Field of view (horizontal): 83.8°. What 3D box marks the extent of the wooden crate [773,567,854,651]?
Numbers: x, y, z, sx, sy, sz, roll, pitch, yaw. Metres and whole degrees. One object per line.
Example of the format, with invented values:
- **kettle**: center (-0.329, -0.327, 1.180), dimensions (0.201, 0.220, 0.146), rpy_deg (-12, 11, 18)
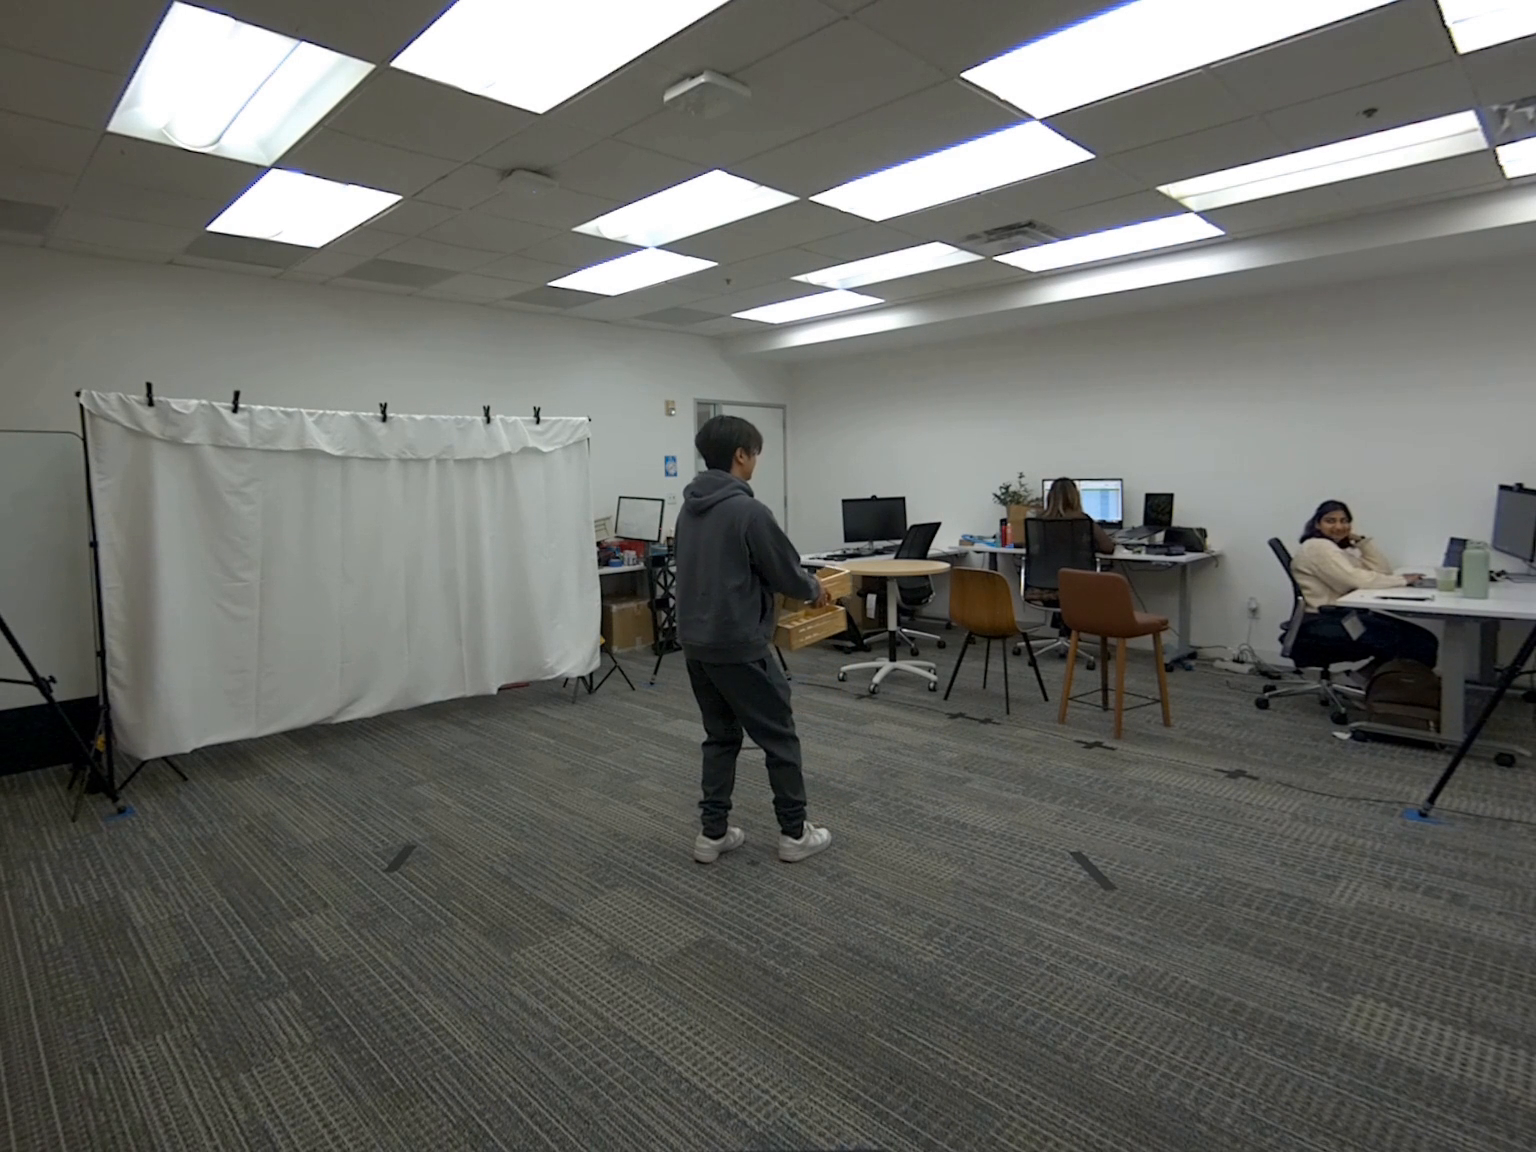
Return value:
- **wooden crate**: center (0.137, 0.114, 3.501), dimensions (0.318, 0.269, 0.312), rpy_deg (-17, 19, -34)
